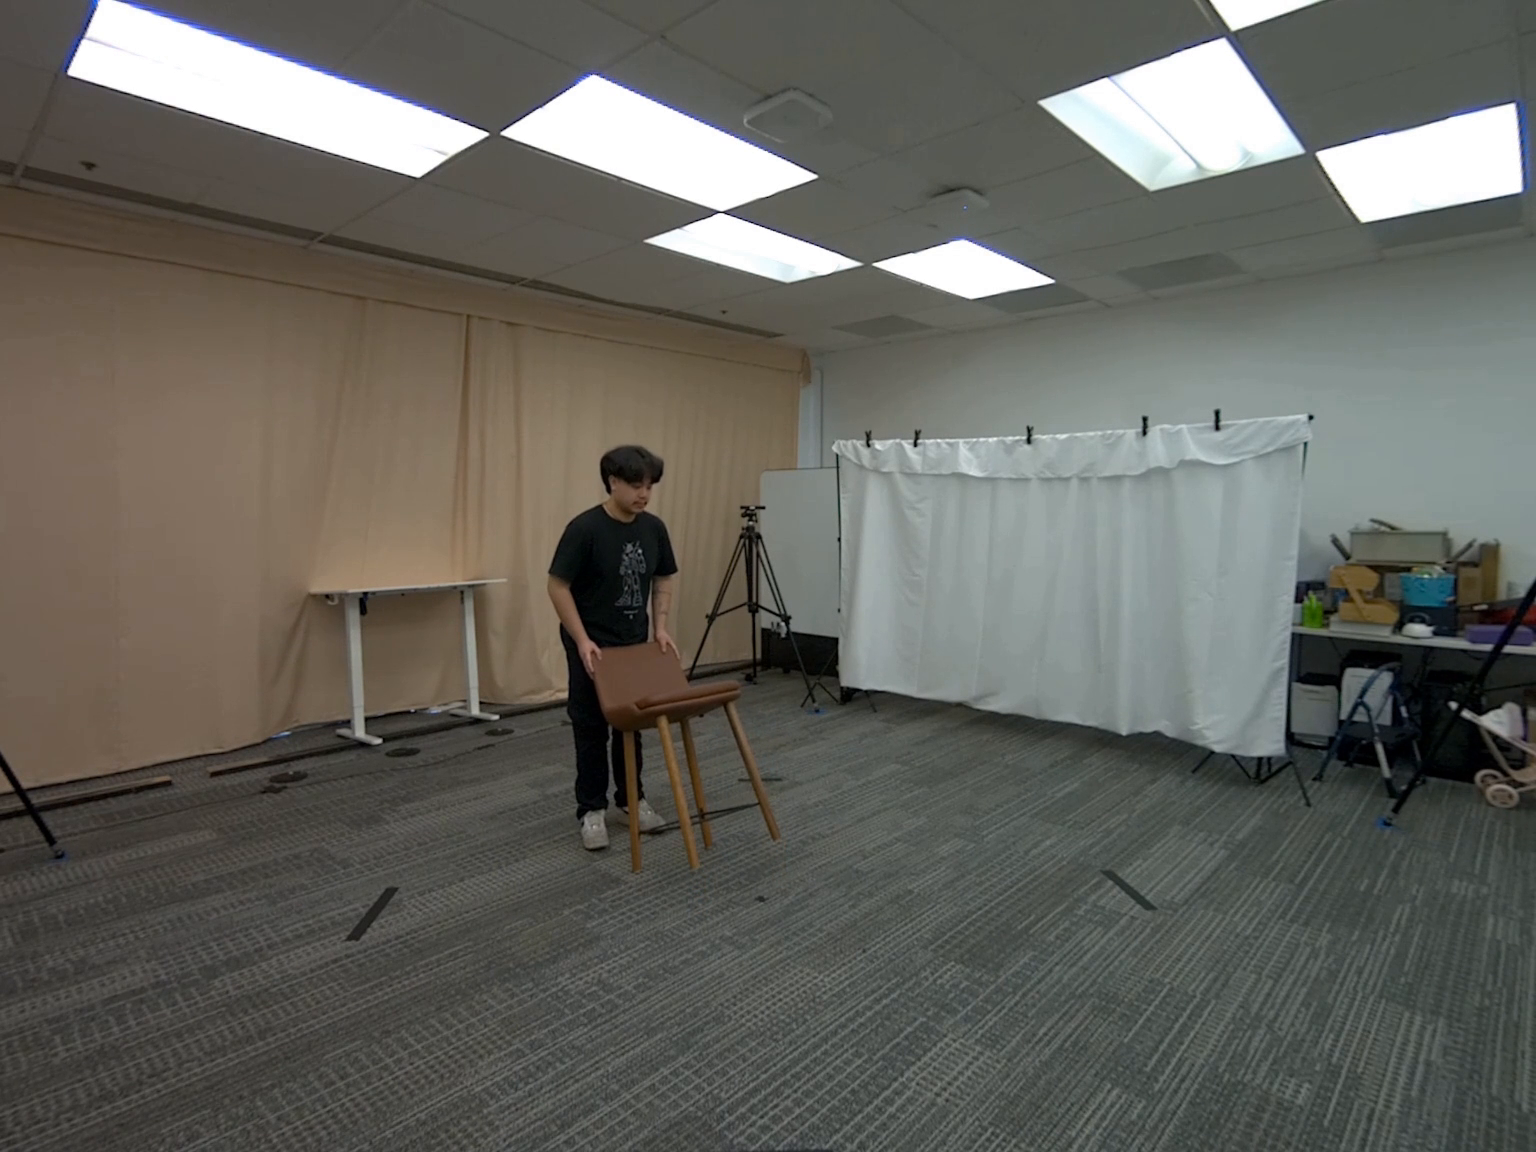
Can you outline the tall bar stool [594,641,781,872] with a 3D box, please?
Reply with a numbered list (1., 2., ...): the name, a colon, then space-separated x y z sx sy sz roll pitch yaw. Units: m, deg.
1. tall bar stool: -0.349 0.642 3.263 0.443 0.901 0.476 -4 -18 -39
